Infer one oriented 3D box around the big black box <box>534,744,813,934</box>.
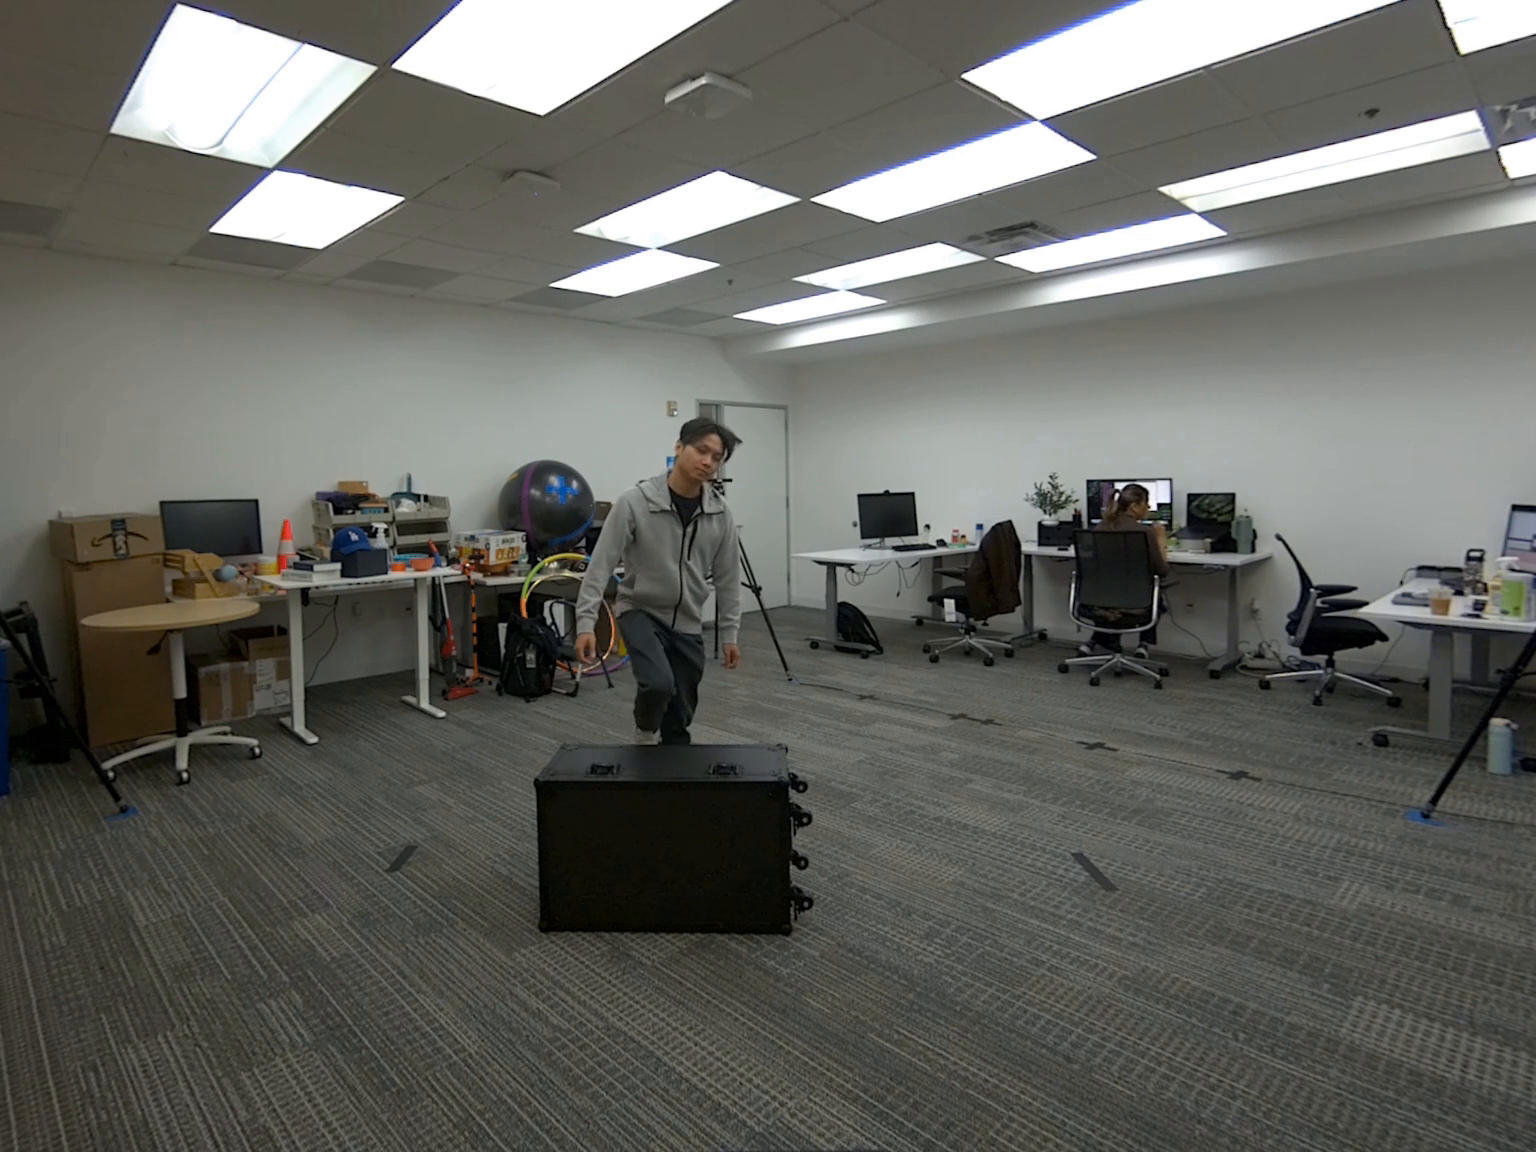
[{"bbox_3d":[-0.290,0.840,2.806,0.865,0.519,0.396,-1,4,3],"label":"big black box"}]
